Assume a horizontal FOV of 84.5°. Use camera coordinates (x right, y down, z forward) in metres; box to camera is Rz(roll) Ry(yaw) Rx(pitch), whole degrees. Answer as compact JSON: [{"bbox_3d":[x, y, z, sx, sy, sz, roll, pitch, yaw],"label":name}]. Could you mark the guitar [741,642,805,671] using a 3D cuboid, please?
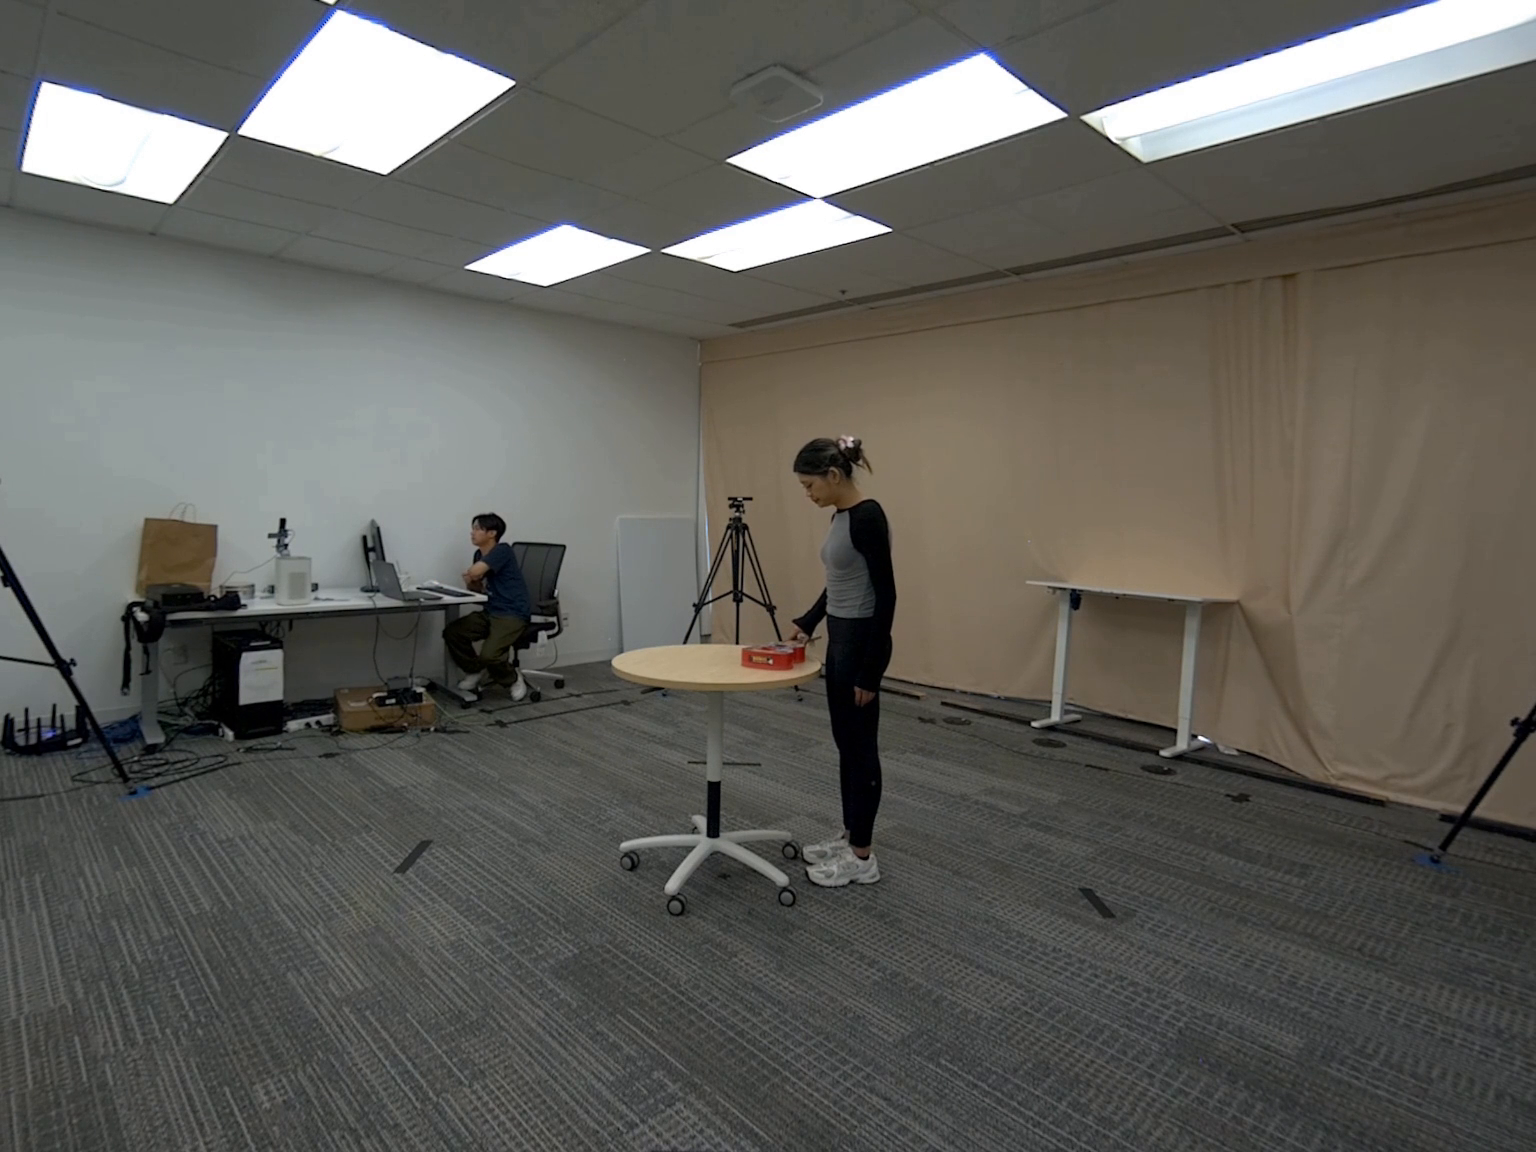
[{"bbox_3d":[0.104,0.280,3.158,0.197,0.070,0.487,2,4,36],"label":"guitar"}]
